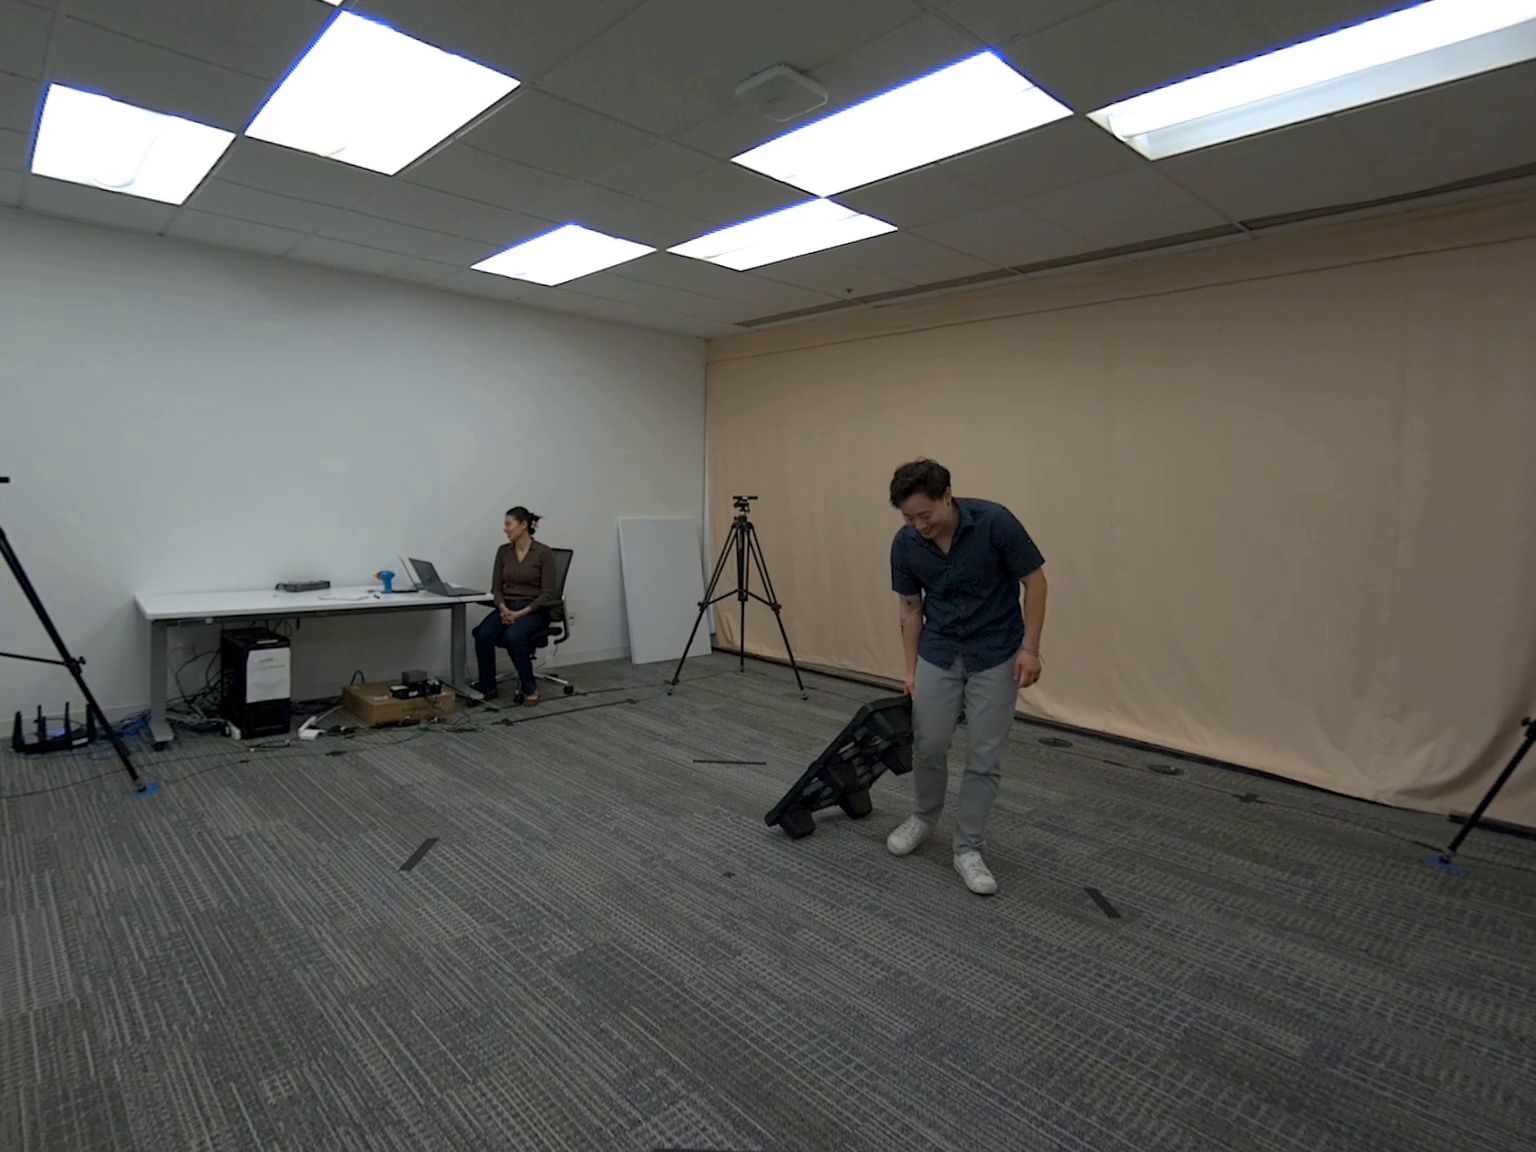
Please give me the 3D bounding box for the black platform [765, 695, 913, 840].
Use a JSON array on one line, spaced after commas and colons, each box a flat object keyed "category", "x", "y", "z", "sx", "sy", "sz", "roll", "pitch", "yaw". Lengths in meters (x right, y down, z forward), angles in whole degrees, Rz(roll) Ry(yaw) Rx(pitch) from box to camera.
[{"category": "black platform", "x": 0.407, "y": 0.770, "z": 3.435, "sx": 0.591, "sy": 0.801, "sz": 0.147, "roll": -1, "pitch": 47, "yaw": -43}]
